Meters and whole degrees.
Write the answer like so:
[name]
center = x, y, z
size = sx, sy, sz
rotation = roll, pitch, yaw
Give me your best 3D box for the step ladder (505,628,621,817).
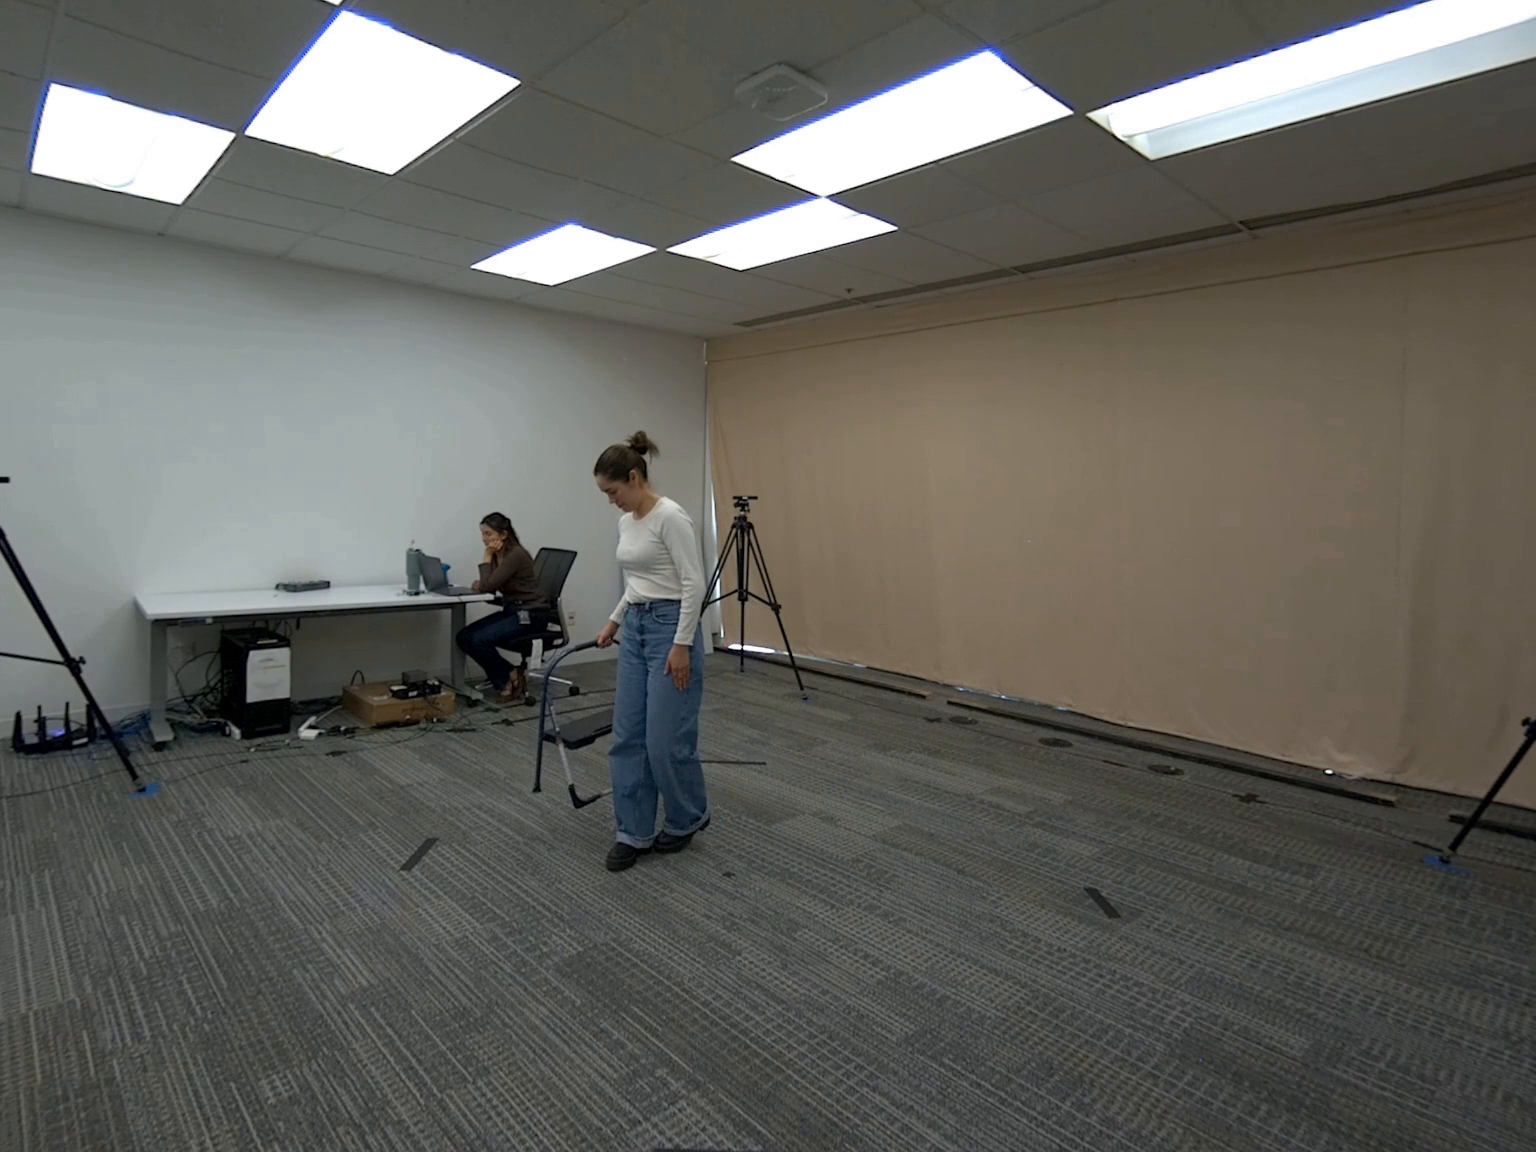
[step ladder]
center = -0.755, 0.574, 3.478
size = 0.423, 0.602, 0.357
rotation = -14, 10, -42
